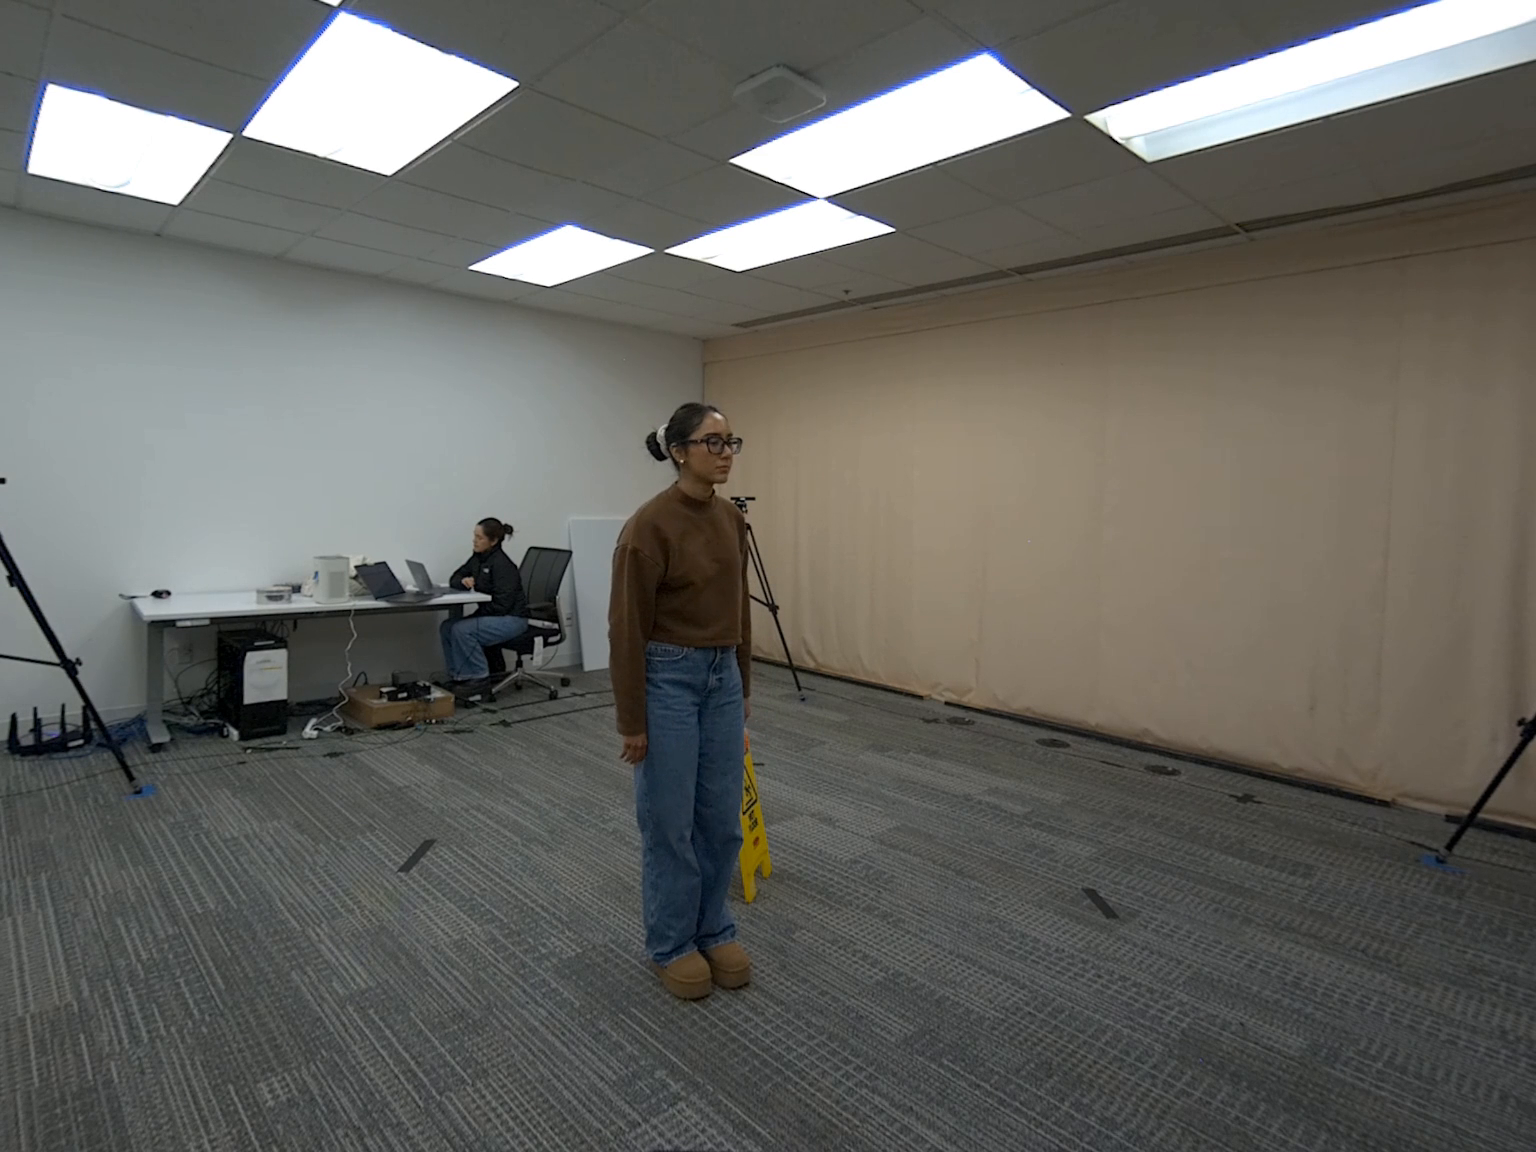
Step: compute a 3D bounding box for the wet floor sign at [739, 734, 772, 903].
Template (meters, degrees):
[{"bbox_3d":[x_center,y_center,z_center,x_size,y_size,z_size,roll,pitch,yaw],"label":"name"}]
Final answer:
[{"bbox_3d":[-0.146,0.793,3.044,0.294,0.644,0.279,3,4,17],"label":"wet floor sign"}]
